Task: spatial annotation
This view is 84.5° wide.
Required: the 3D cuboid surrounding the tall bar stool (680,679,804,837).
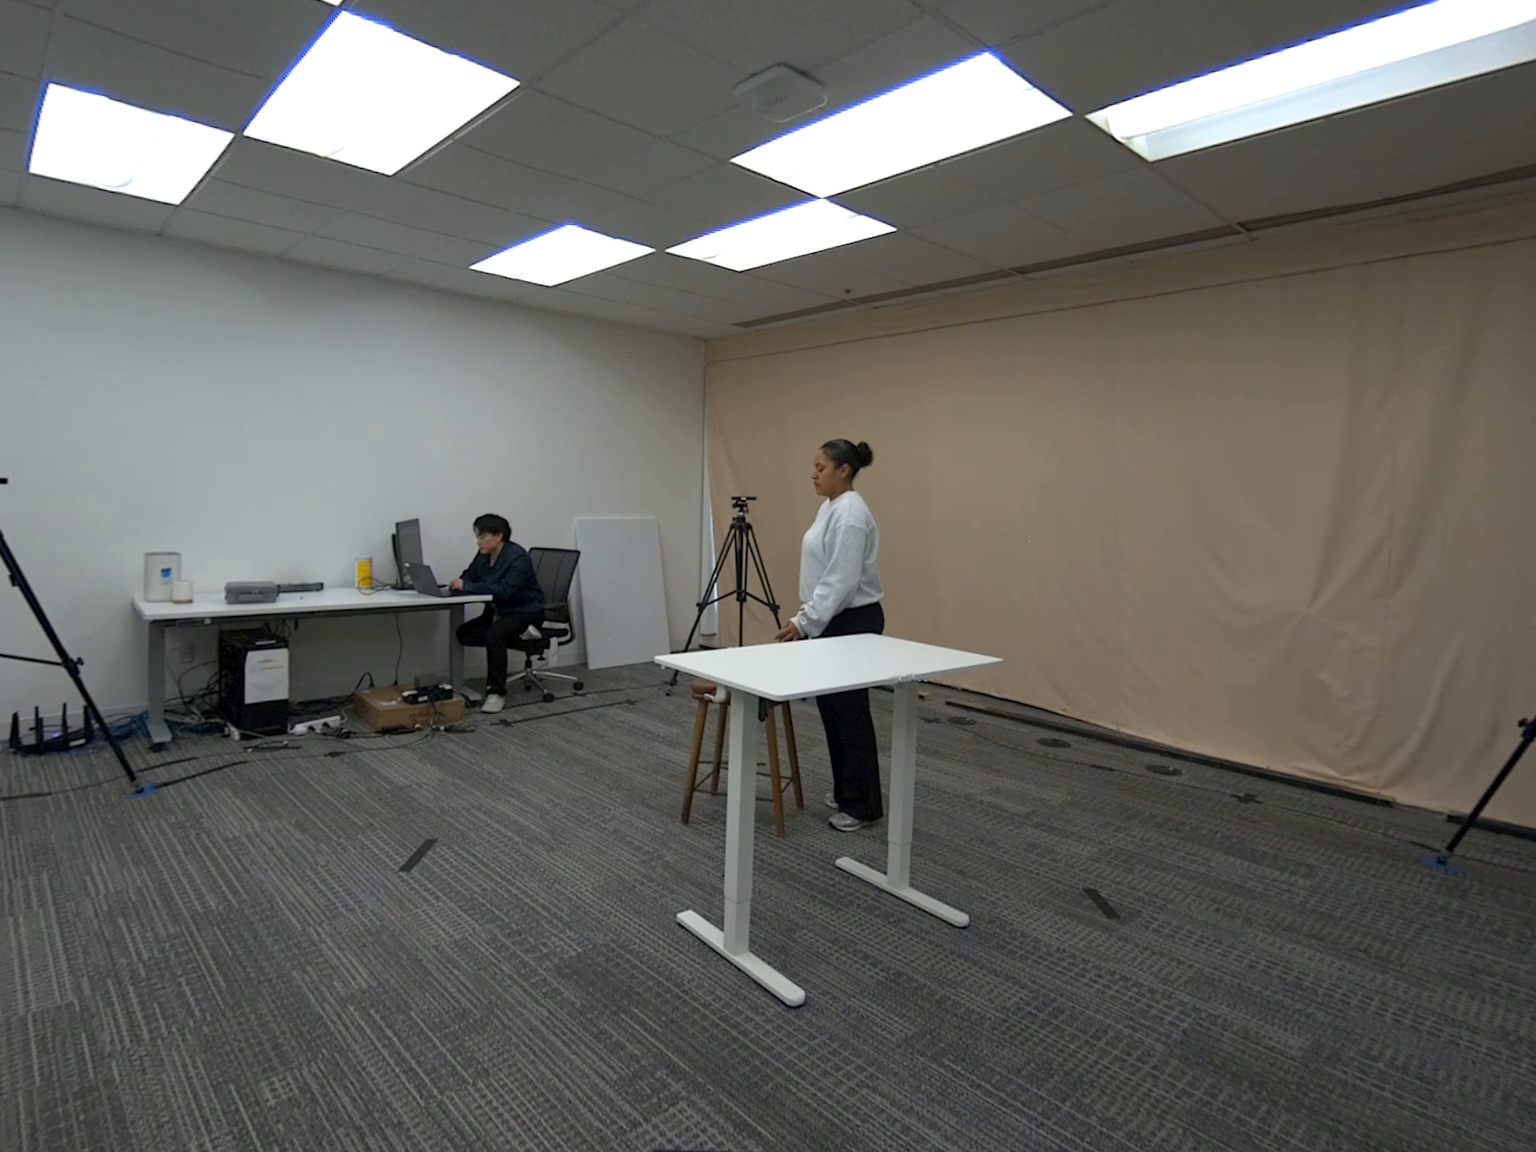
[{"bbox_3d":[-0.088,0.621,3.691,0.474,0.888,0.451,4,4,17],"label":"tall bar stool"}]
